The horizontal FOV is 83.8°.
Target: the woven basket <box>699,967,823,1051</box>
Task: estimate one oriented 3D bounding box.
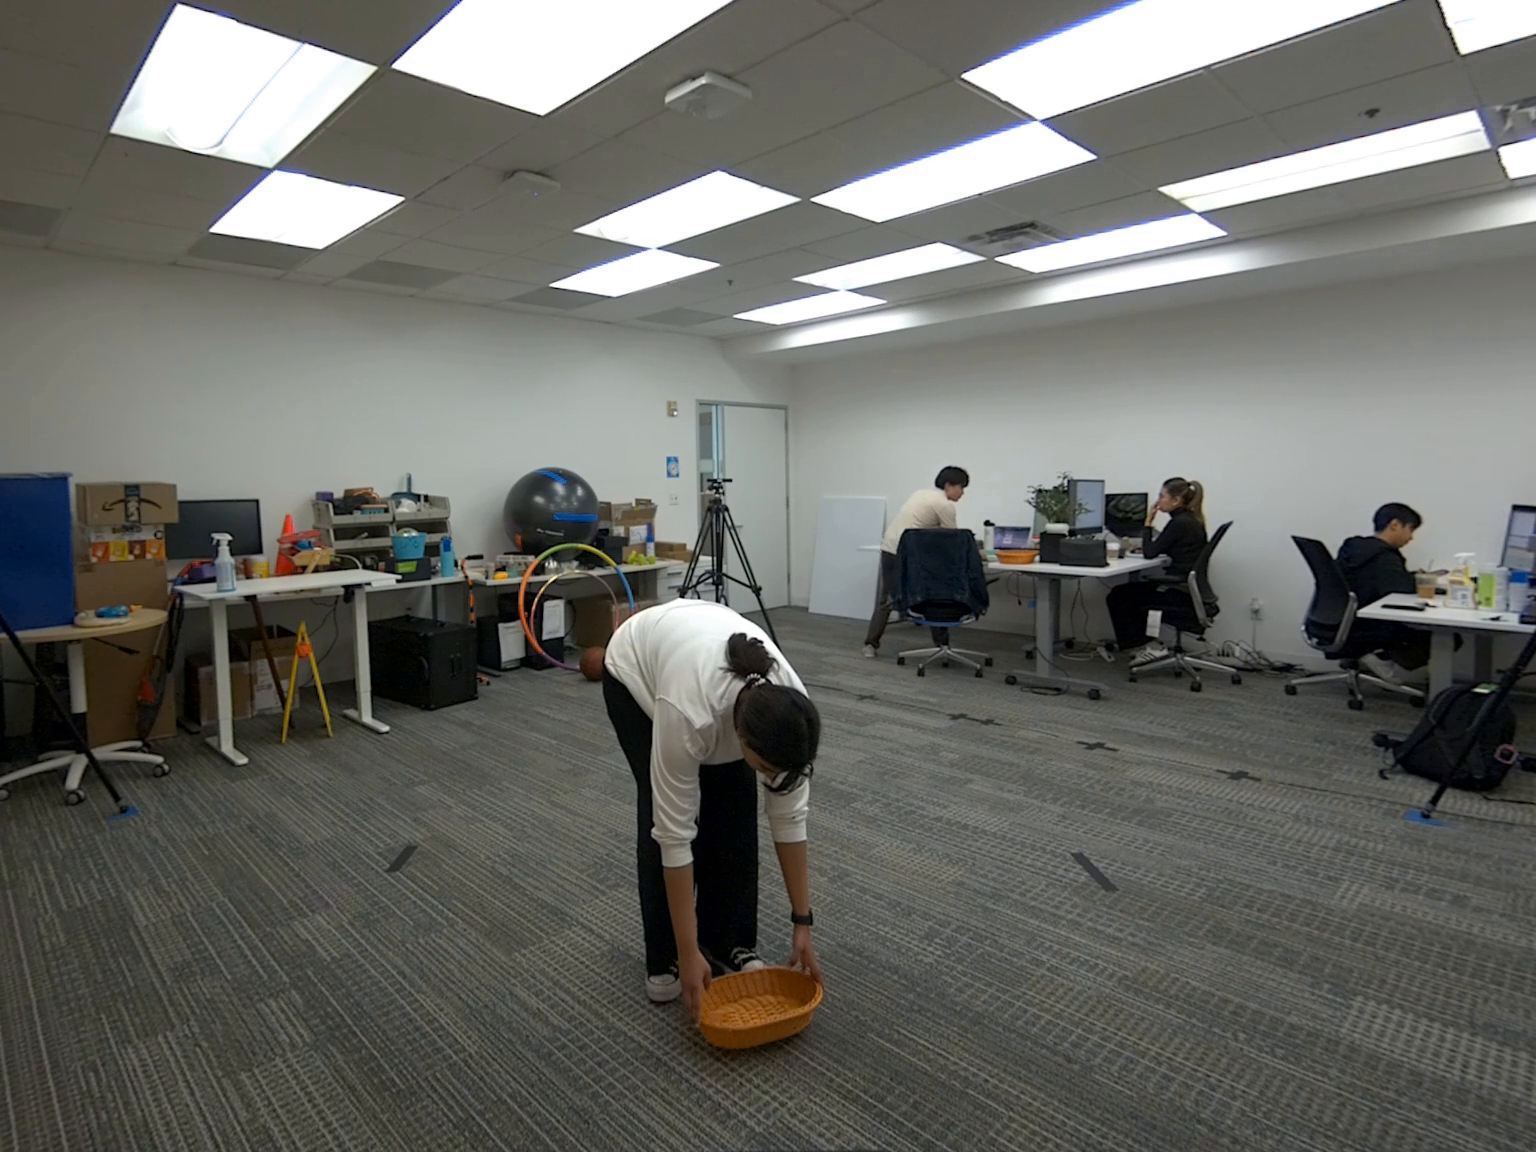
[{"bbox_3d":[-0.021,1.091,2.164,0.344,0.073,0.258,-5,3,-24],"label":"woven basket"}]
